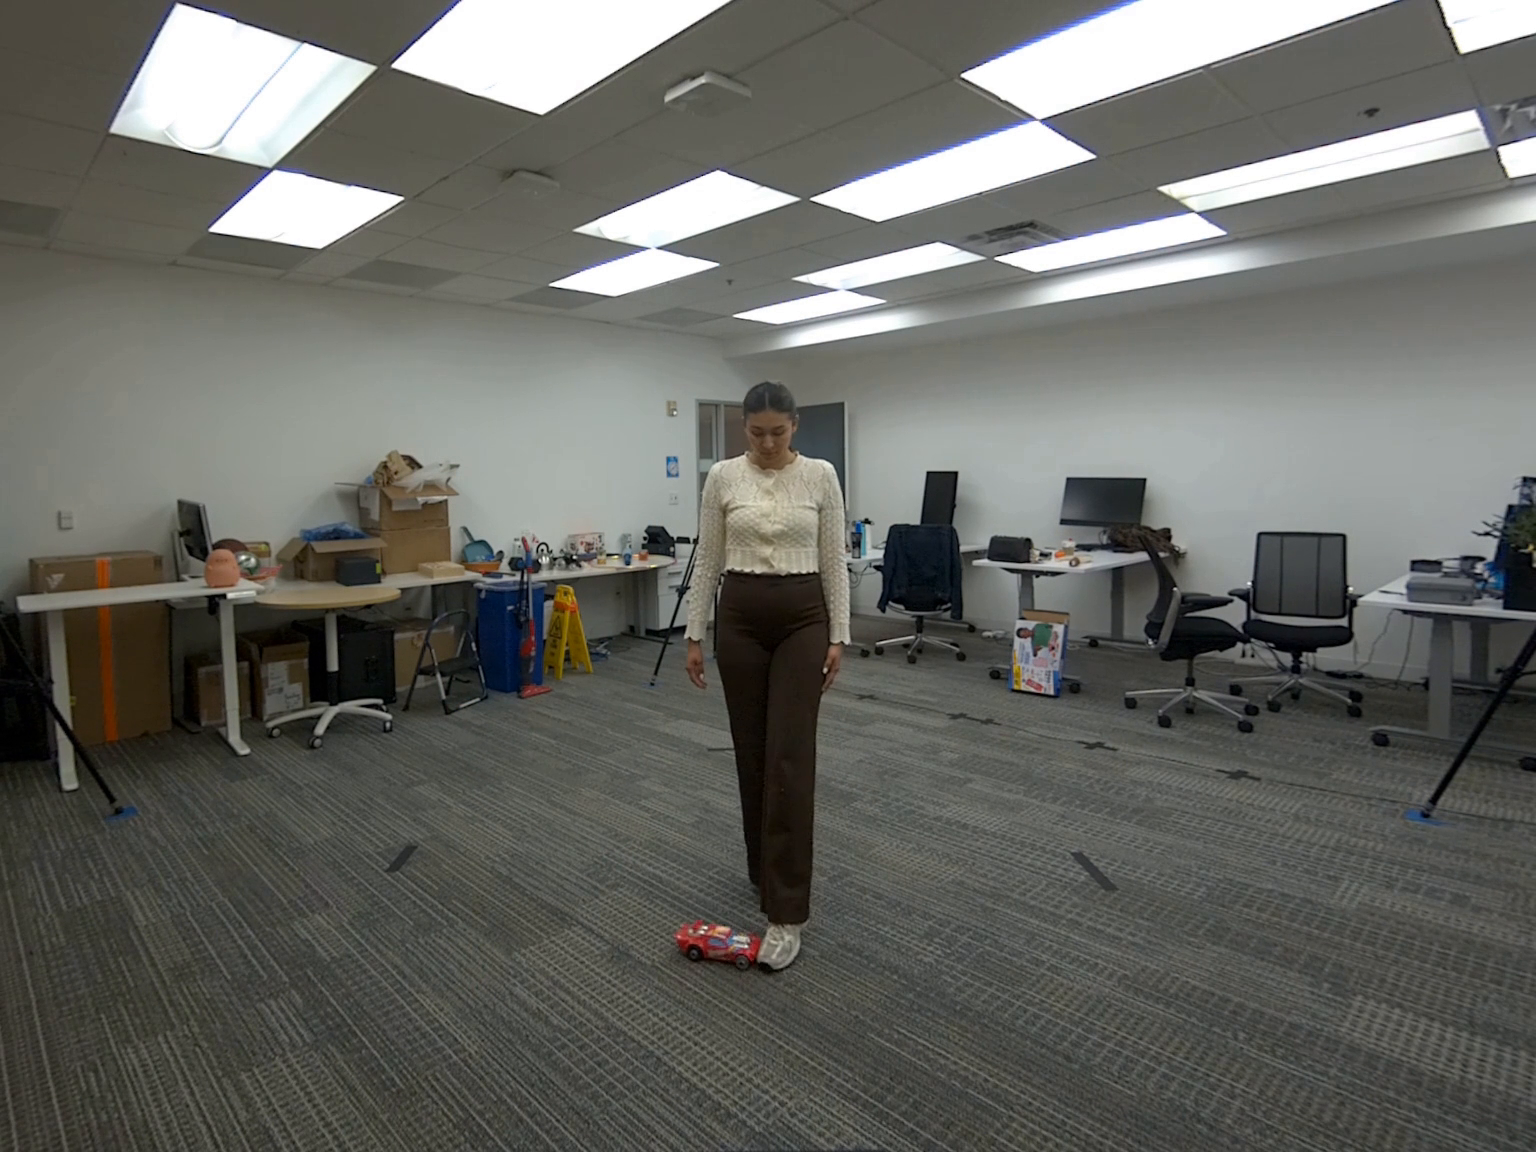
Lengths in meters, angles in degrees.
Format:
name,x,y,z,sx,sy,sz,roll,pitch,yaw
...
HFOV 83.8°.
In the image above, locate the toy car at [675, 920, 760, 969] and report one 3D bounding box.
name,x,y,z,sx,sy,sz,roll,pitch,yaw
toy car,-0.146,1.084,2.517,0.259,0.083,0.129,12,9,16
